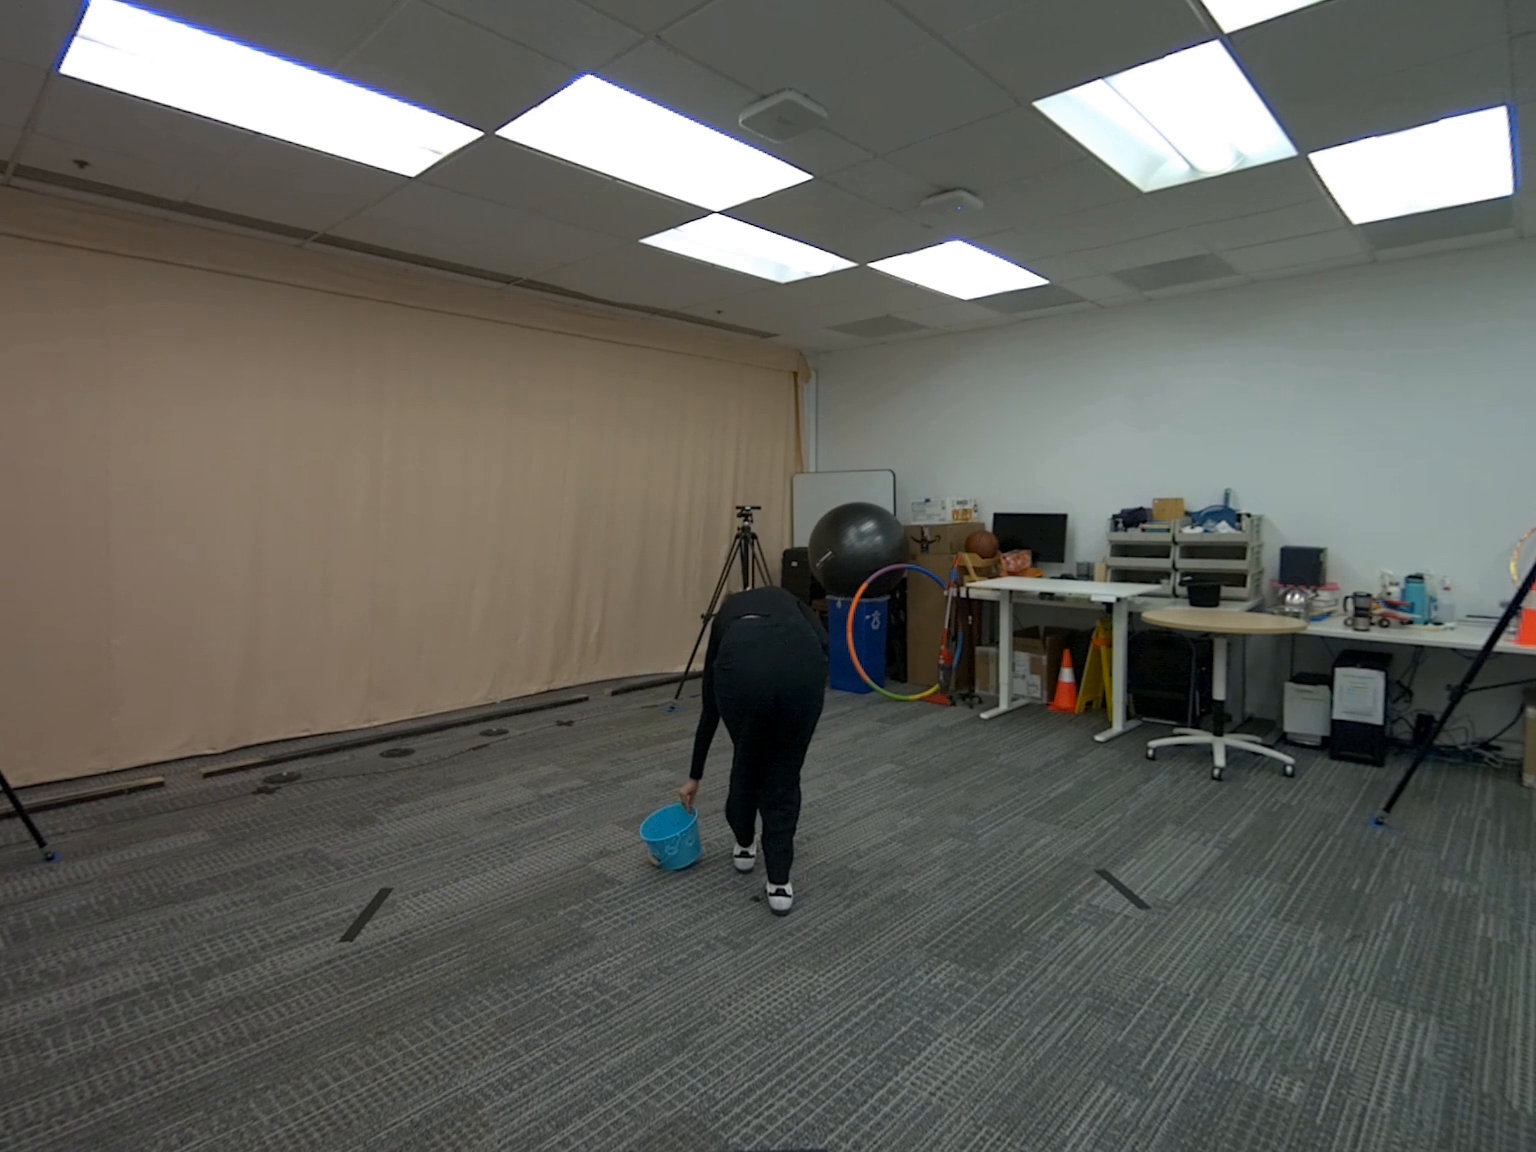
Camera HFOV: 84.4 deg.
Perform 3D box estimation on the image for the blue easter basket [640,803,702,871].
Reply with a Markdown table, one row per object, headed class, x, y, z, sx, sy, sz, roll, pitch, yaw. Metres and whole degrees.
| class | x | y | z | sx | sy | sz | roll | pitch | yaw |
| --- | --- | --- | --- | --- | --- | --- | --- | --- | --- |
| blue easter basket | -0.371 | 1.026 | 3.276 | 0.244 | 0.154 | 0.246 | -16 | 14 | 2 |
